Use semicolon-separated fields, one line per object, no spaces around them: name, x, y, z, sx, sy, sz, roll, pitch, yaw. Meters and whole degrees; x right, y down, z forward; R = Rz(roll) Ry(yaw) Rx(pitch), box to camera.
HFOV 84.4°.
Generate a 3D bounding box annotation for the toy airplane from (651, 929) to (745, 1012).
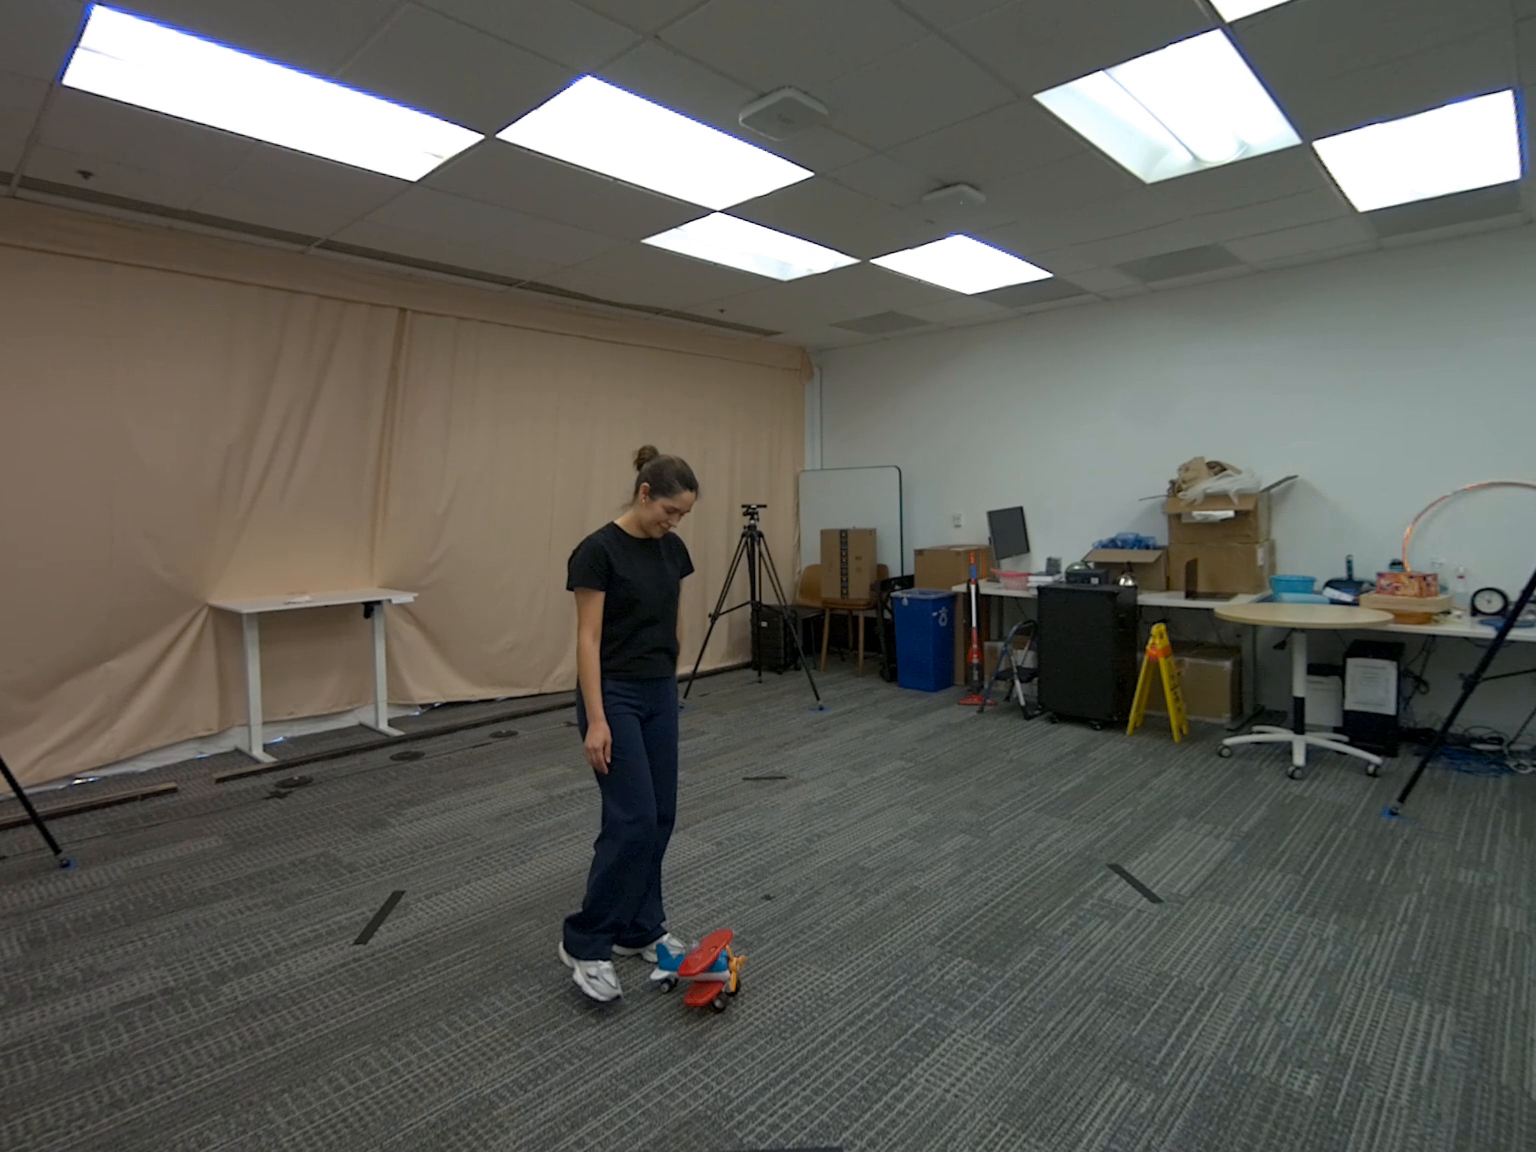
toy airplane;-0.186;1.125;2.366;0.258;0.156;0.253;0;5;-5
